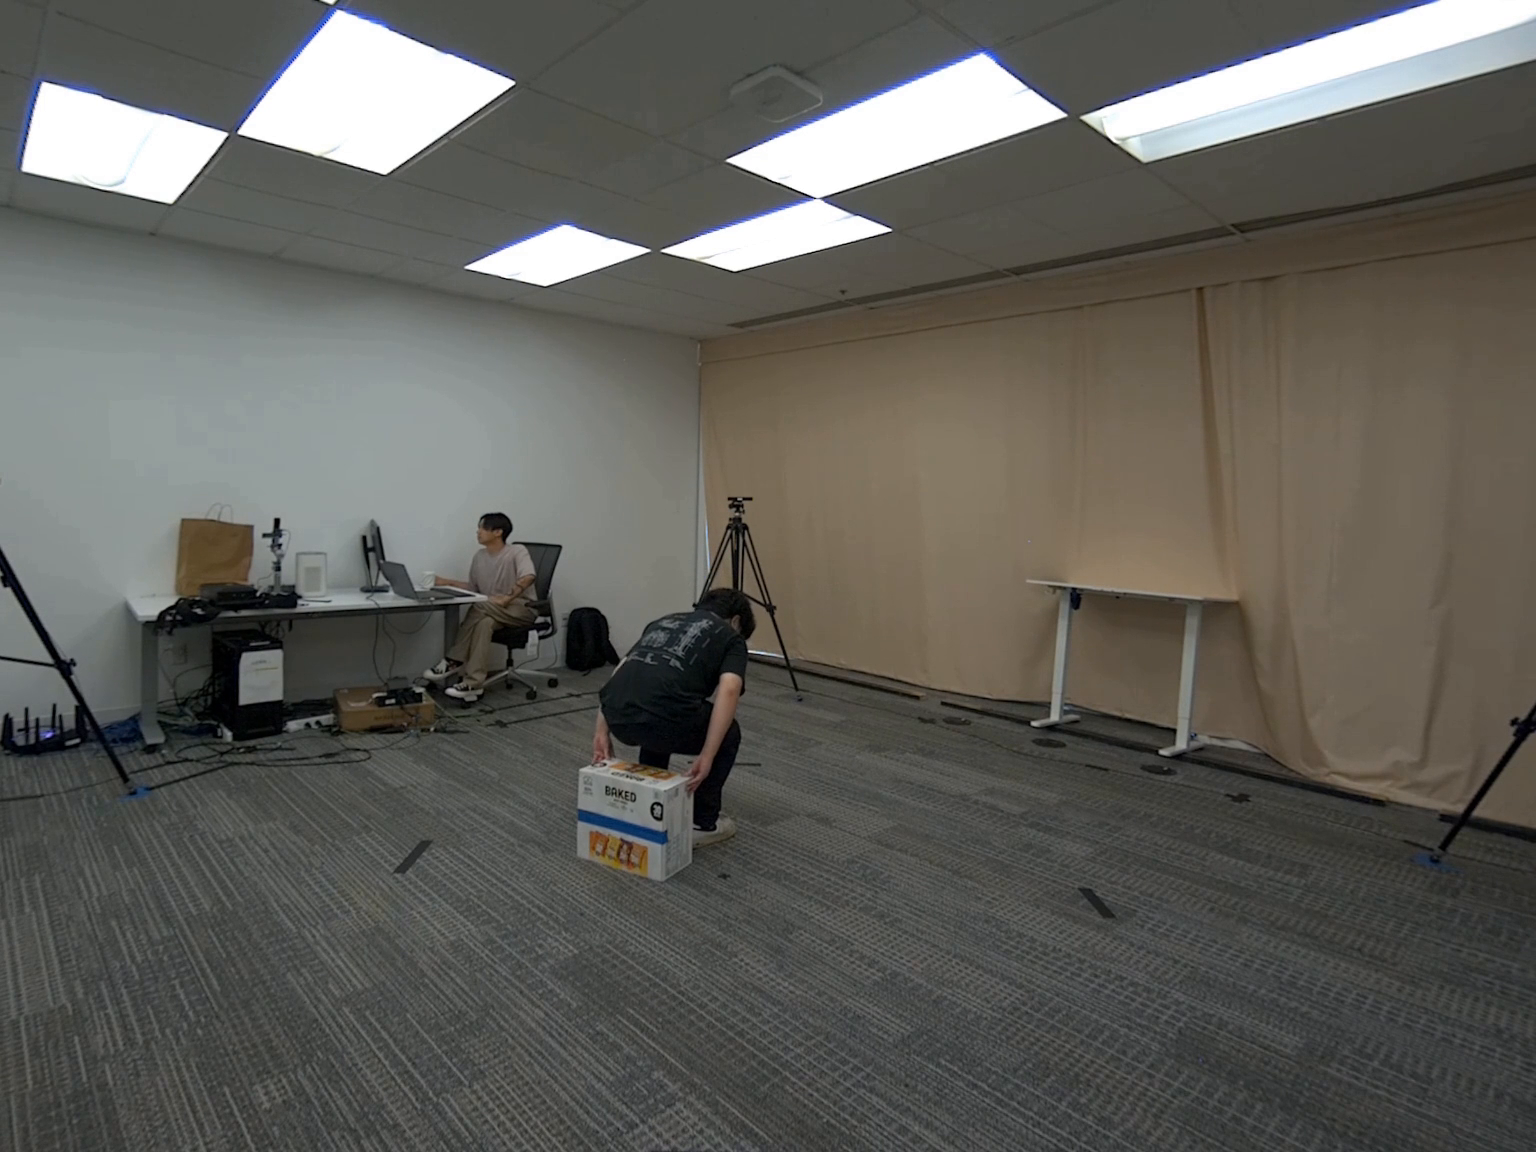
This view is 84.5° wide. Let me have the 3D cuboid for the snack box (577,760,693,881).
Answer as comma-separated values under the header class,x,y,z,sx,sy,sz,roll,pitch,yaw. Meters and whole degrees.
class,x,y,z,sx,sy,sz,roll,pitch,yaw
snack box,-0.516,0.922,3.217,0.414,0.339,0.202,5,5,29
